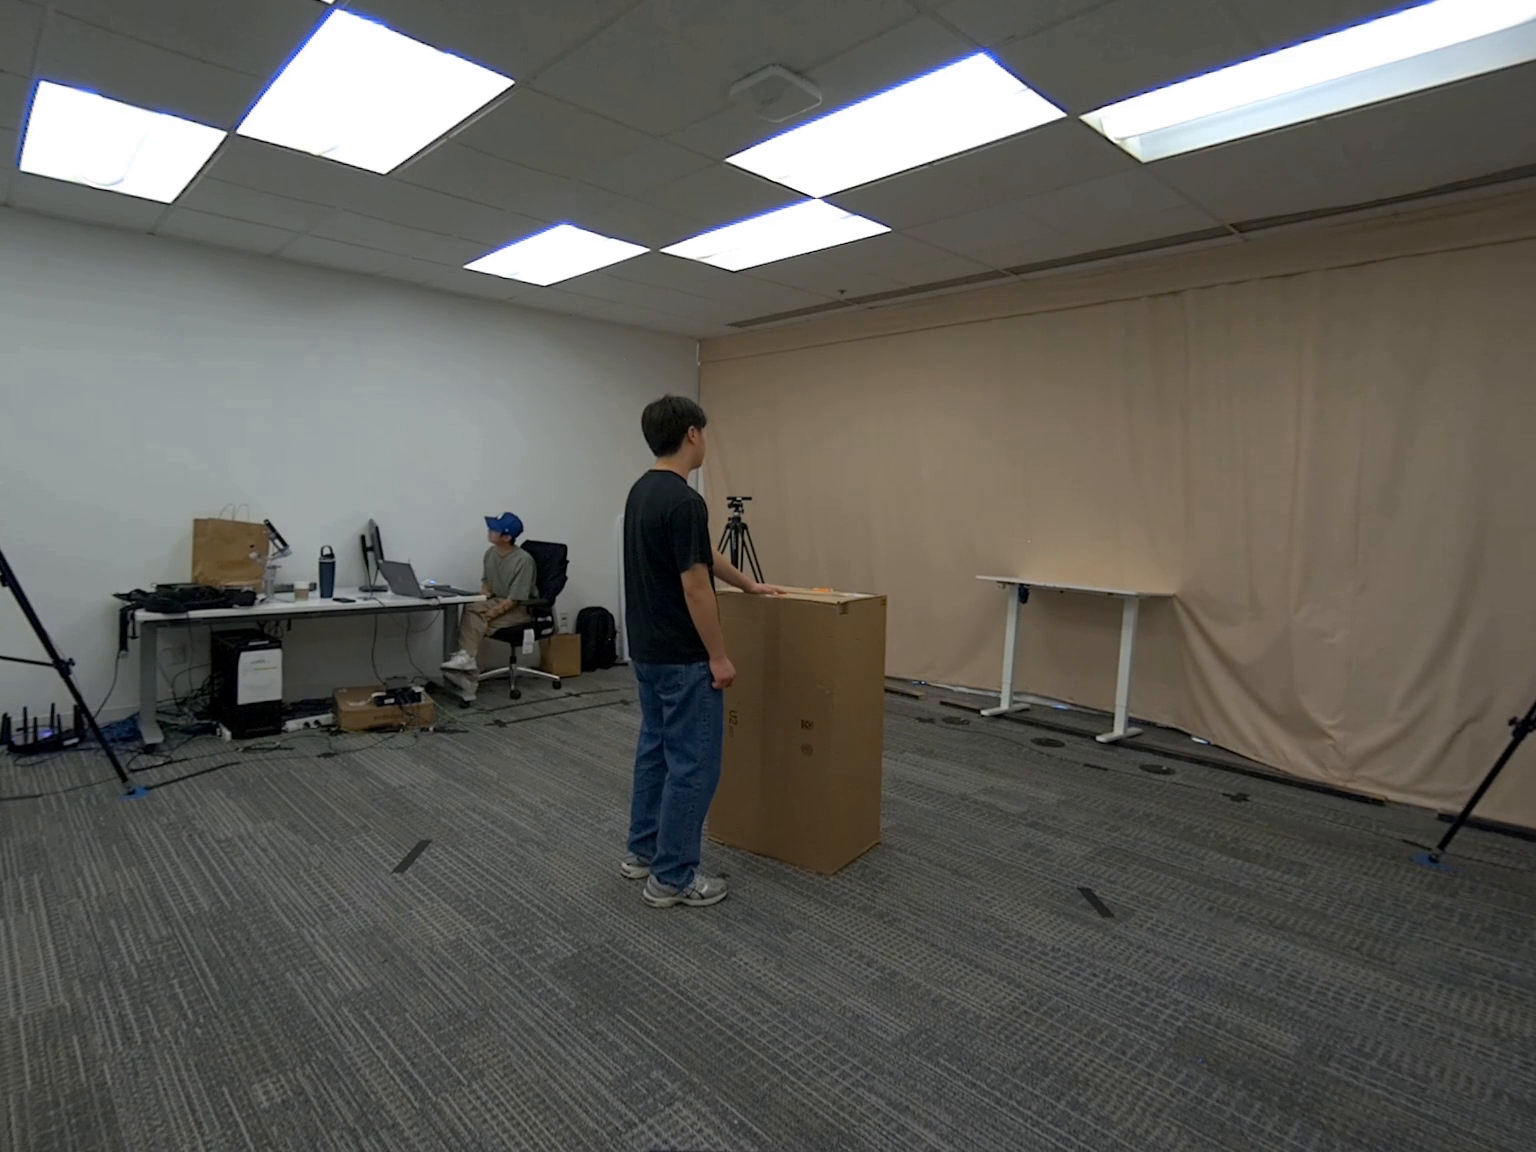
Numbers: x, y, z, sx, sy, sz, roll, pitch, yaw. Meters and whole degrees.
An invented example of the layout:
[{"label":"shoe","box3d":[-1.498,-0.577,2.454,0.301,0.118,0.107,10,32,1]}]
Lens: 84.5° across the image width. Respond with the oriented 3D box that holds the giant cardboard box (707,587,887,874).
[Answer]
[{"label":"giant cardboard box","box3d":[0.119,0.573,3.431,0.598,1.025,0.437,4,3,36]}]
